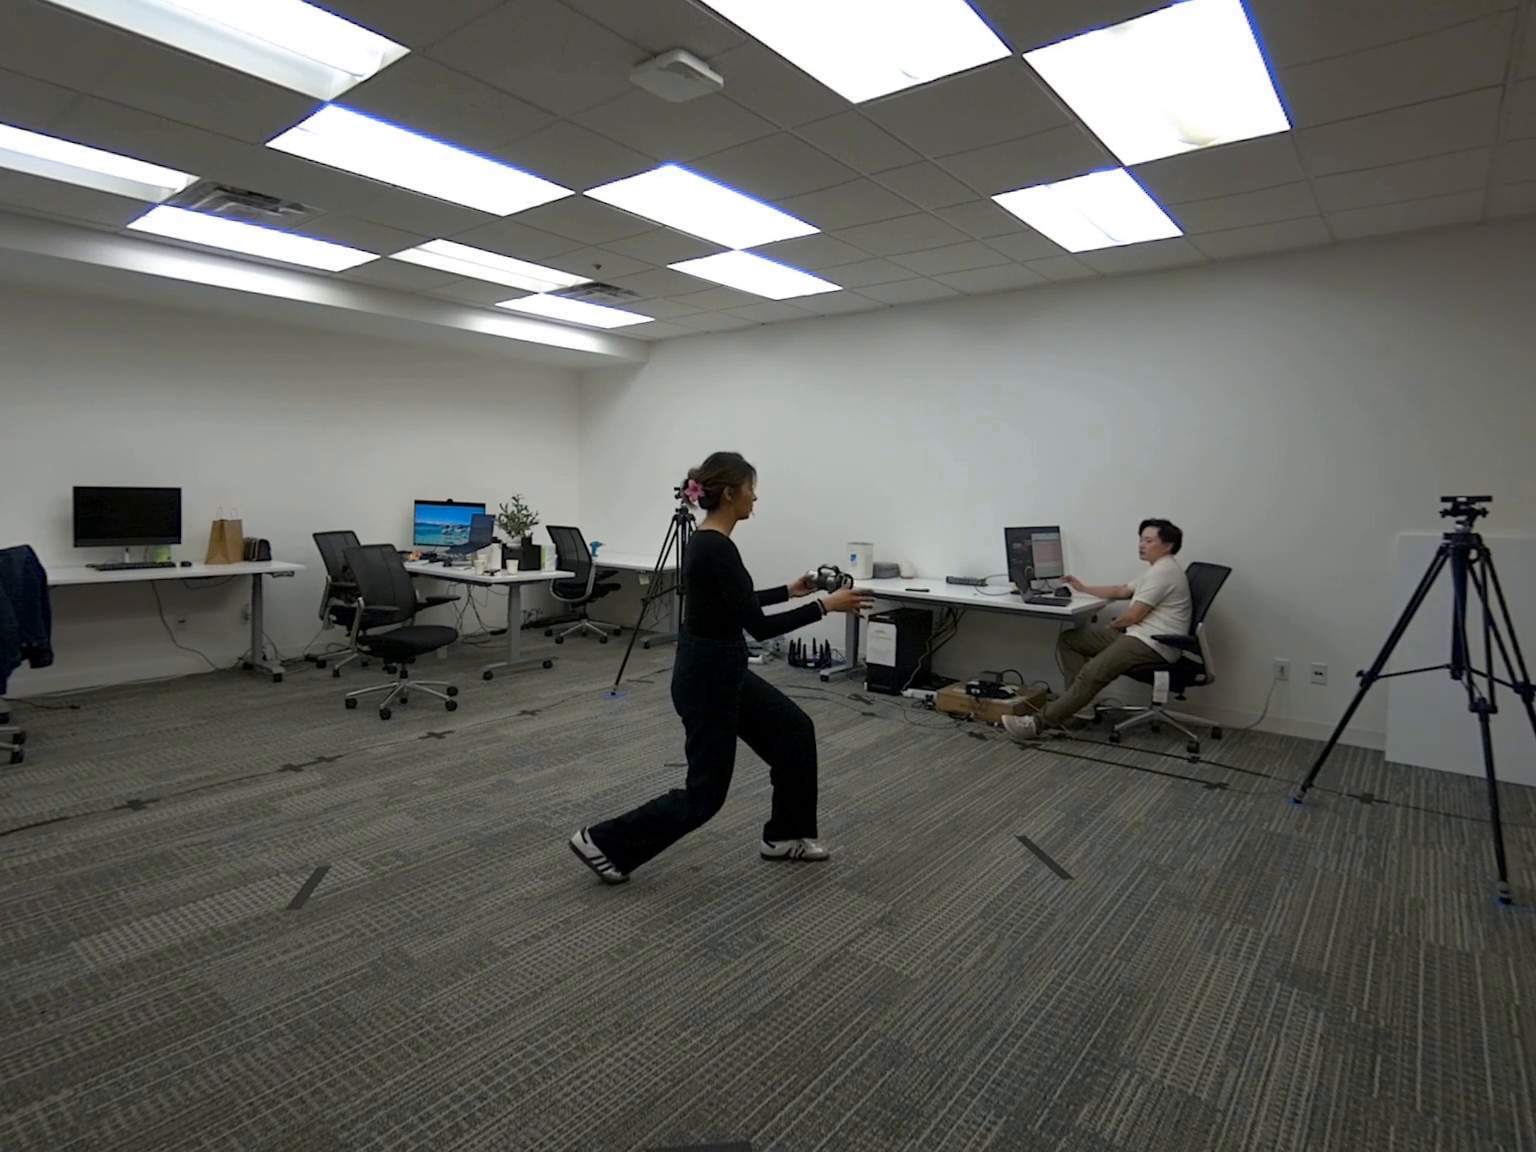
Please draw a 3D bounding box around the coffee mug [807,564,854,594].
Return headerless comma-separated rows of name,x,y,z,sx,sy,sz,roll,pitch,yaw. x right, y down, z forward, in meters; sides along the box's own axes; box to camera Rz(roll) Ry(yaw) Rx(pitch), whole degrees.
coffee mug,0.215,0.017,3.343,0.086,0.121,0.210,-9,12,-35
